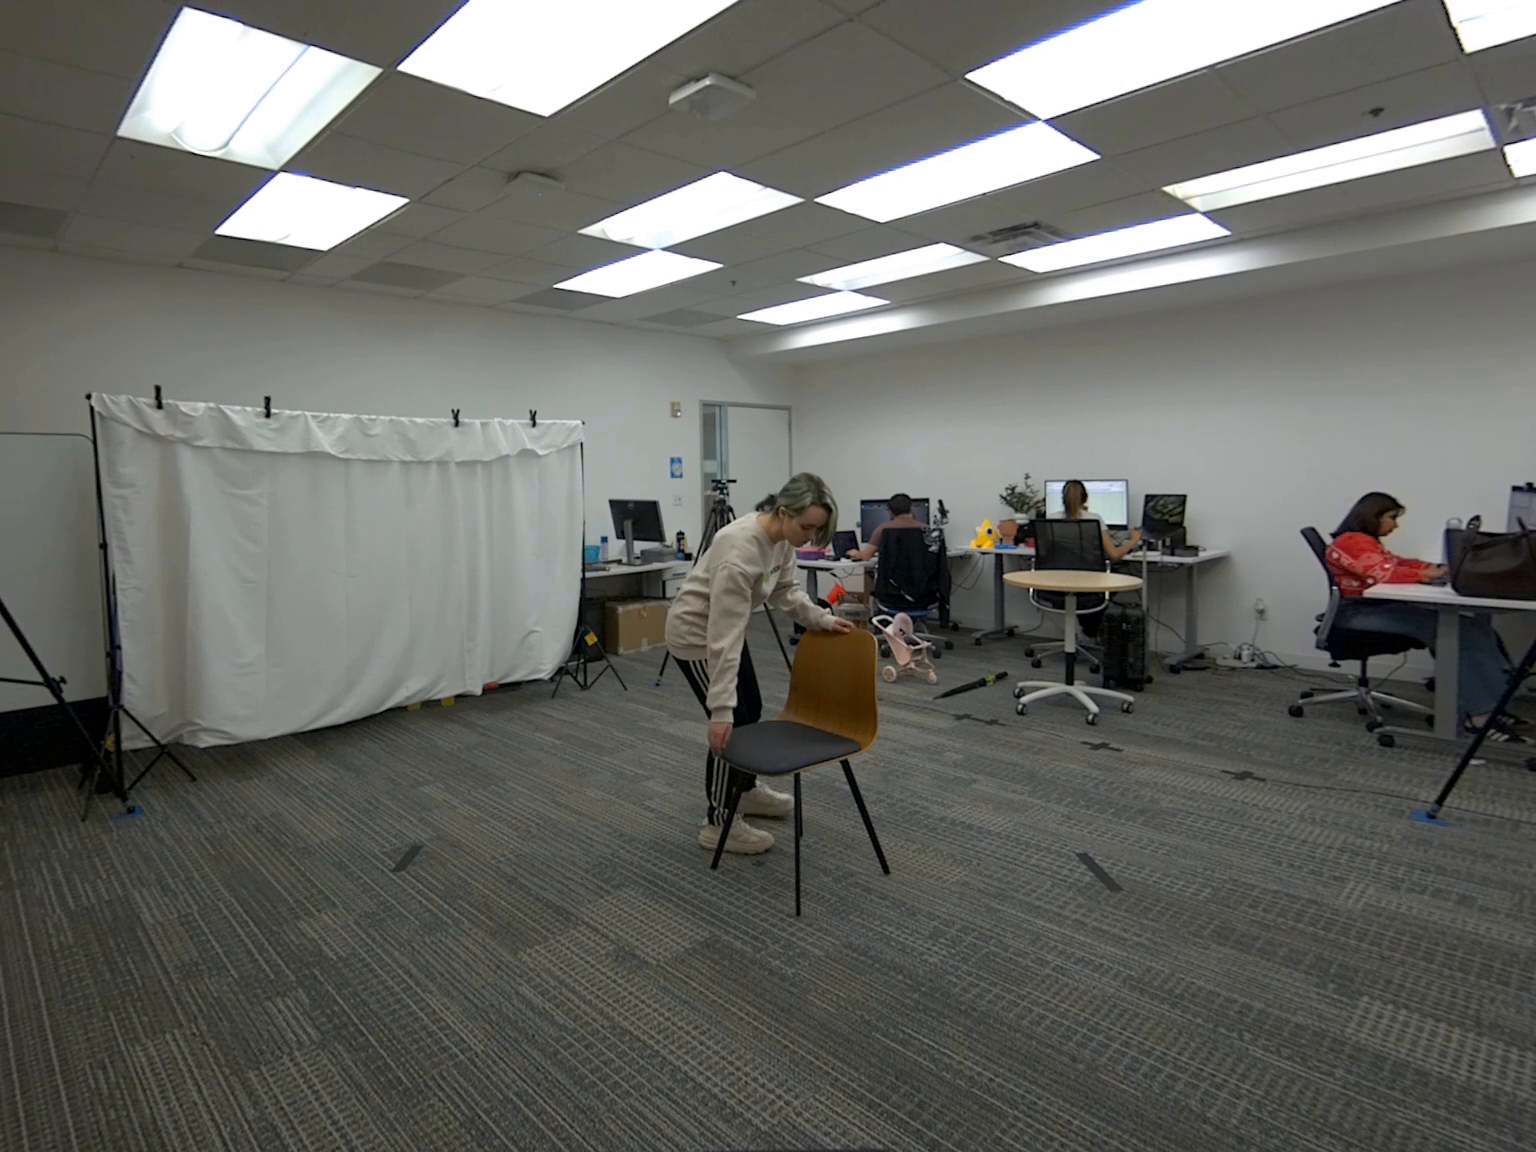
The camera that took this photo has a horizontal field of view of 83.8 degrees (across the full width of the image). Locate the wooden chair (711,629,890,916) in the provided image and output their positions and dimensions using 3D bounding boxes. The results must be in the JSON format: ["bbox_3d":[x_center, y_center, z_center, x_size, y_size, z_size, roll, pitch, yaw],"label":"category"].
[{"bbox_3d":[0.108,0.629,2.994,0.508,0.877,0.492,1,2,-40],"label":"wooden chair"}]
